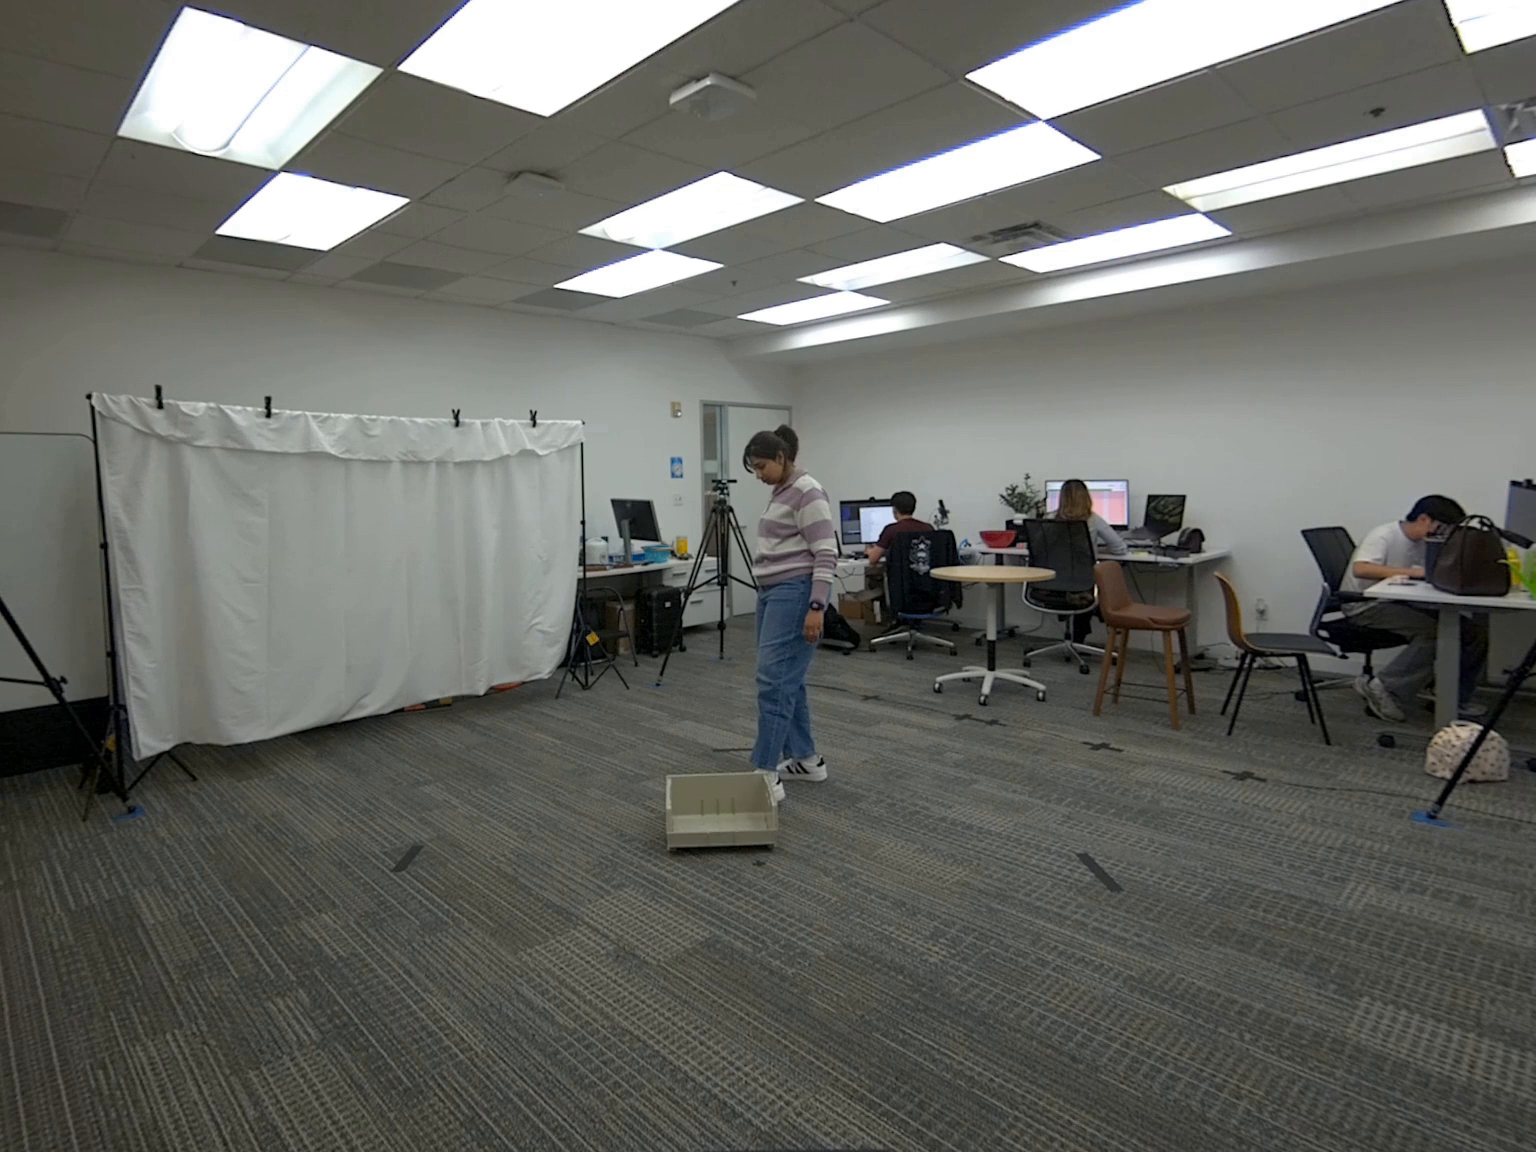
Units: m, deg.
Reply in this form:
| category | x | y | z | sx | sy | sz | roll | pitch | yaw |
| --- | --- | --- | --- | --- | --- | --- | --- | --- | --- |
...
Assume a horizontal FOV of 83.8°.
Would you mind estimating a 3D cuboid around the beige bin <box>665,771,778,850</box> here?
| category | x | y | z | sx | sy | sz | roll | pitch | yaw |
| --- | --- | --- | --- | --- | --- | --- | --- | --- | --- |
| beige bin | -0.188 | 0.934 | 3.365 | 0.421 | 0.188 | 0.380 | -2 | 6 | -4 |
